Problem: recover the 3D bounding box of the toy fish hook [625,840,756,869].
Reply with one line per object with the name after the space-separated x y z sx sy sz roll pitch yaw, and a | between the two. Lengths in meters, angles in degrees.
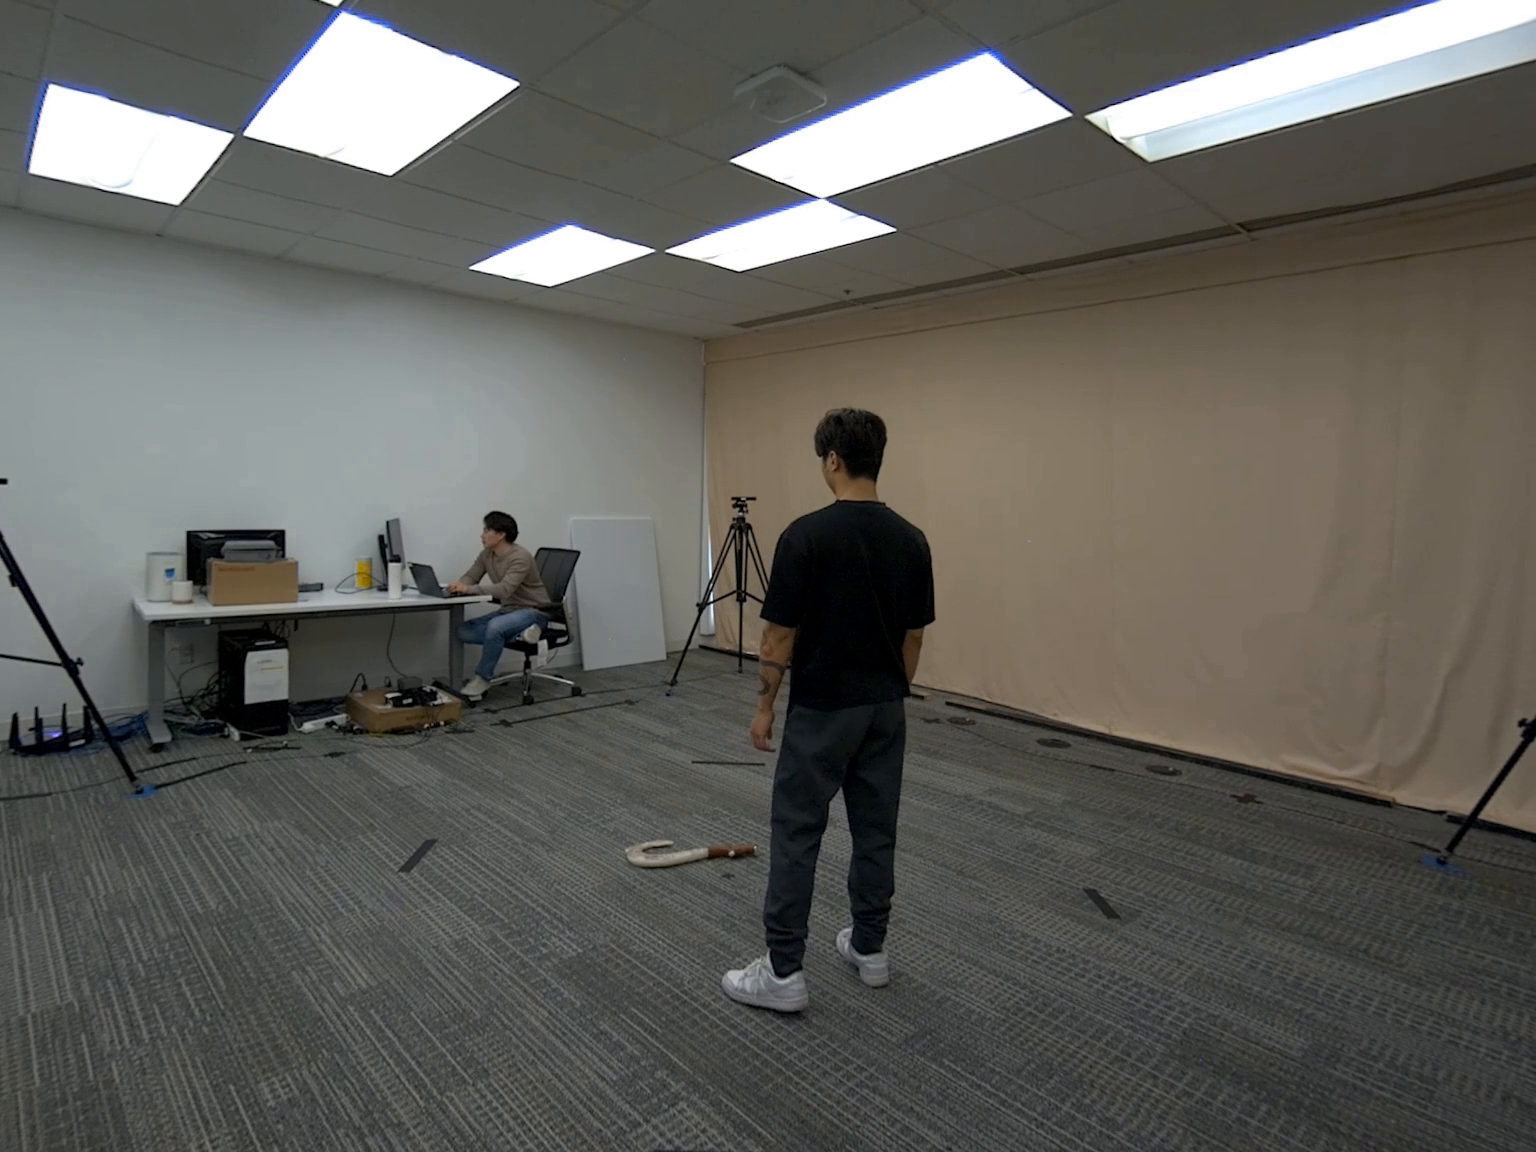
-0.304 1.064 3.283 0.501 0.048 0.228 0 6 -14 | toy fish hook
